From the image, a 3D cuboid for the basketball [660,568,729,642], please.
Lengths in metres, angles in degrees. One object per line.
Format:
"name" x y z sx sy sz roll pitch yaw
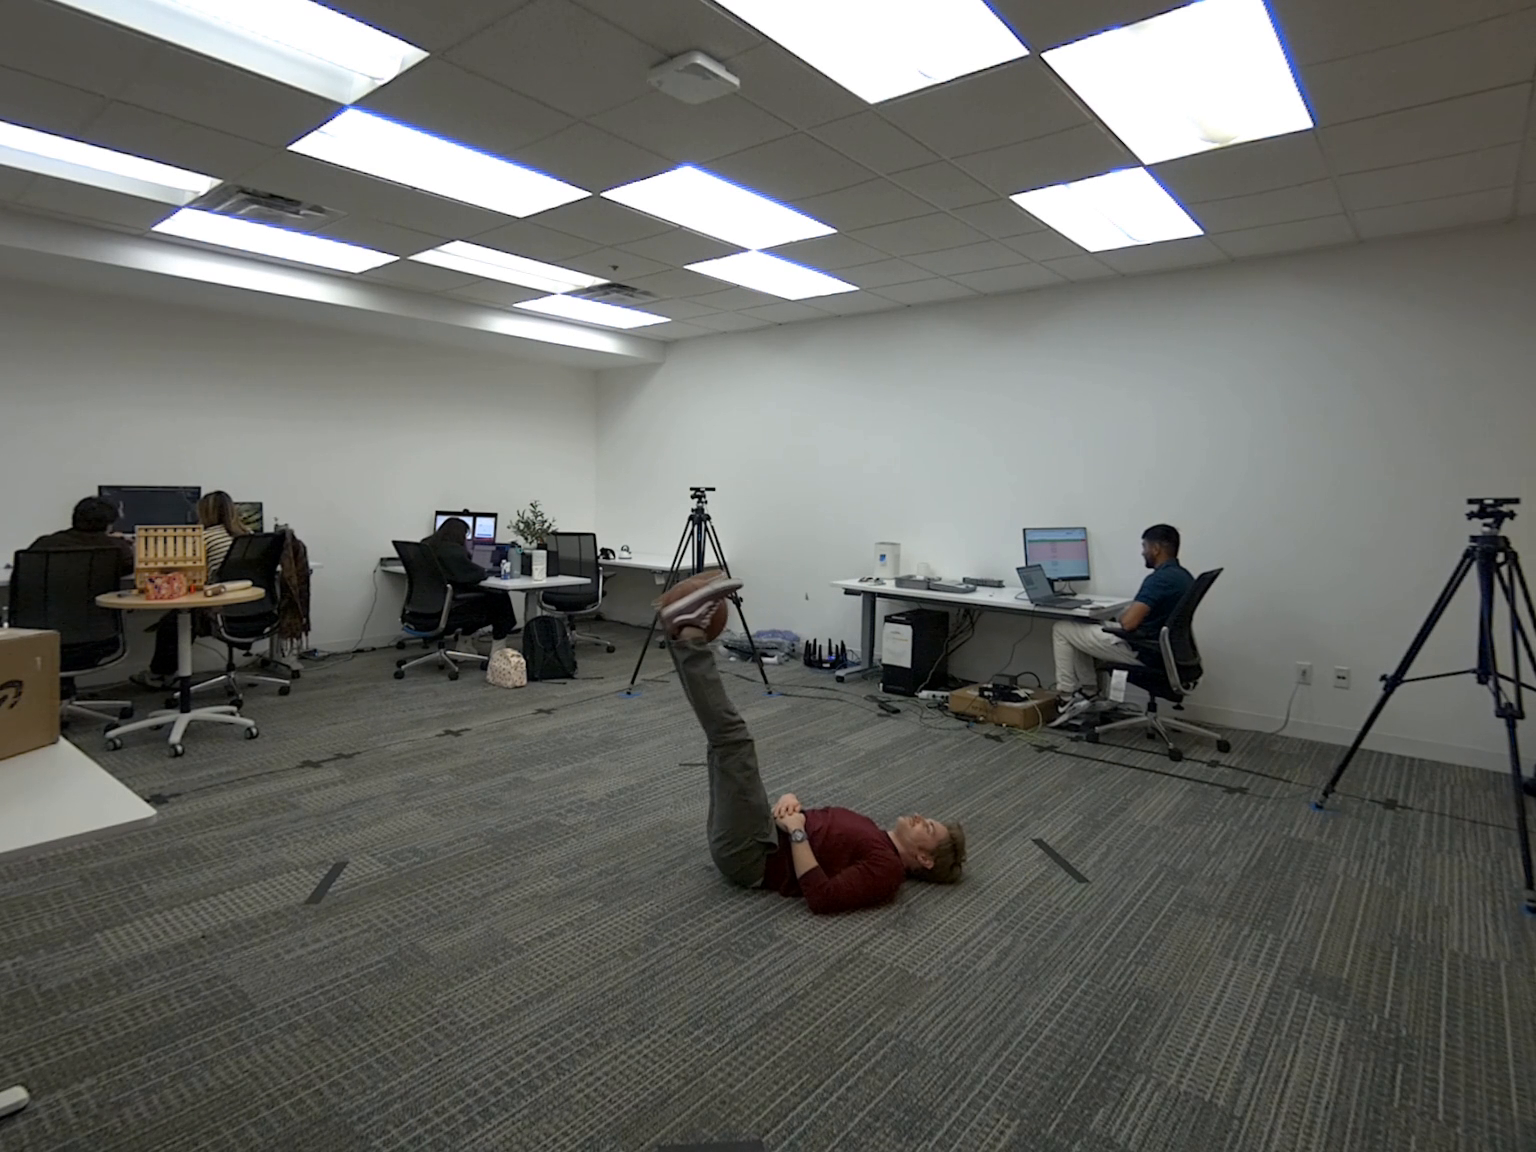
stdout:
"basketball" -0.227 0.130 3.024 0.236 0.235 0.237 -3 3 -2
